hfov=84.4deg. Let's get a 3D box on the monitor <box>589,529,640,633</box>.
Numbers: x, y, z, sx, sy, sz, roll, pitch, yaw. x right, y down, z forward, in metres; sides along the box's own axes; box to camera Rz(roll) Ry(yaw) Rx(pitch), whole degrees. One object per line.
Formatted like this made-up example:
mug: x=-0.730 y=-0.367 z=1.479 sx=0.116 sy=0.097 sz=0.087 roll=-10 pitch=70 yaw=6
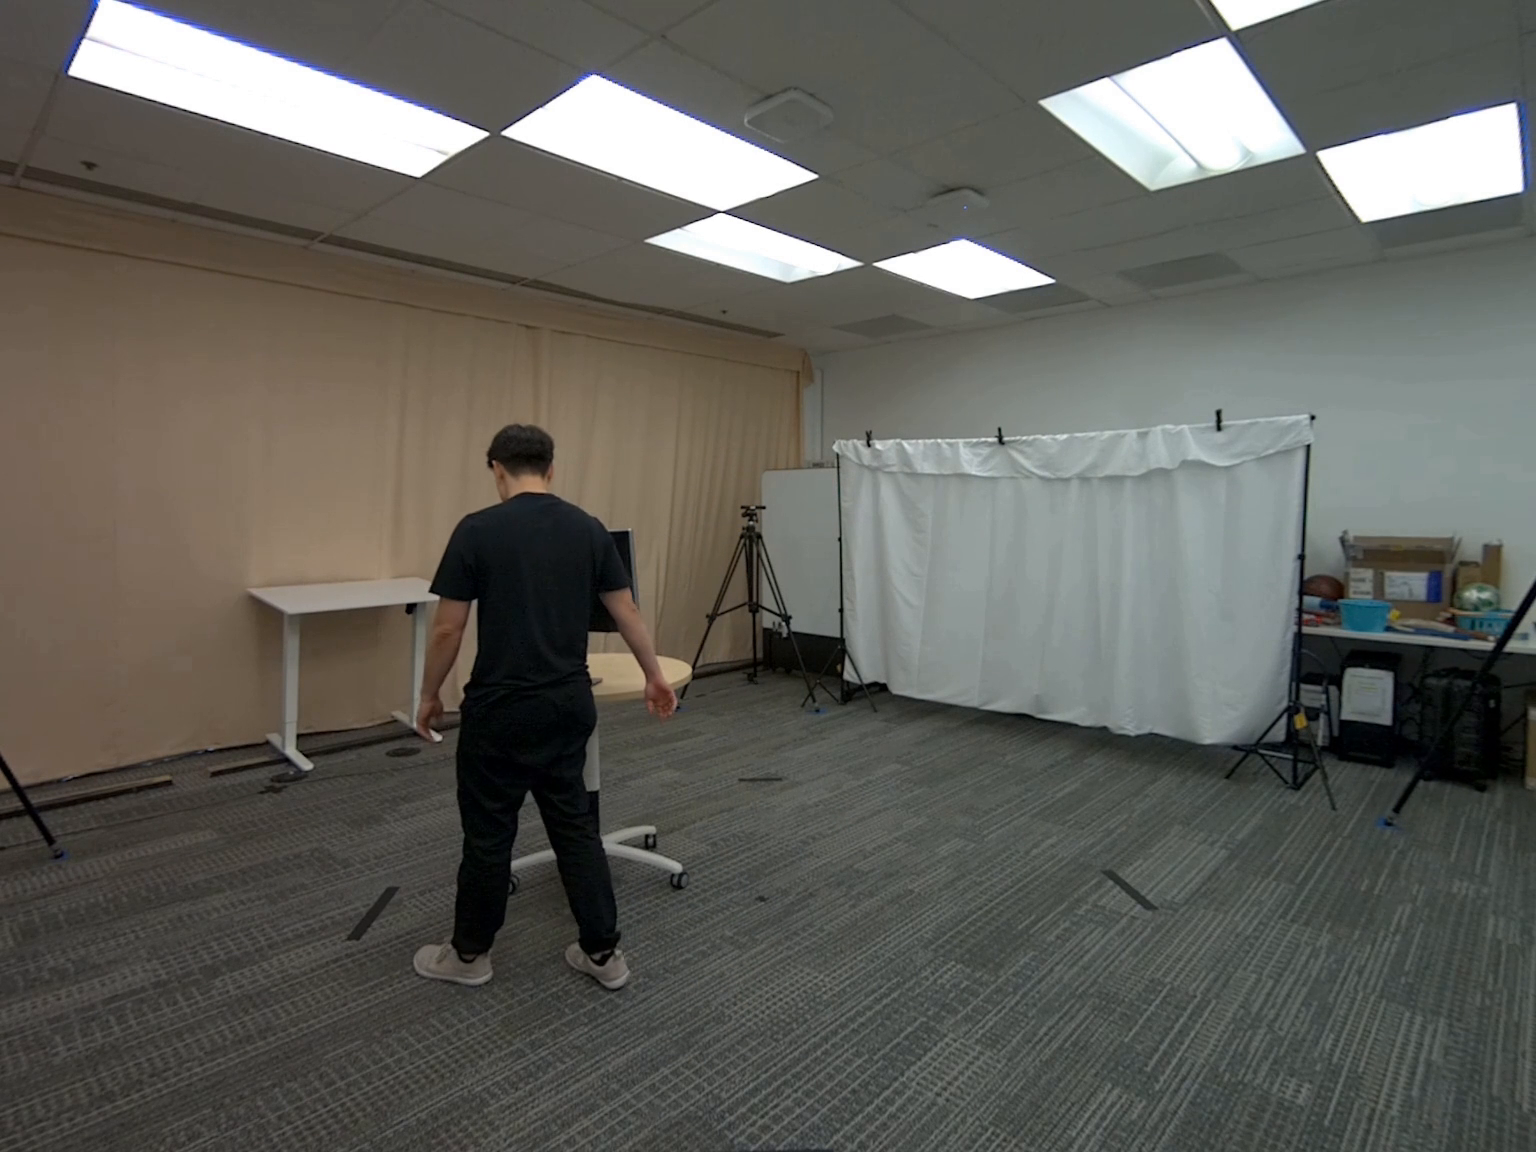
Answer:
monitor: x=-0.721 y=0.112 z=2.891 sx=0.548 sy=0.522 sz=0.184 roll=0 pitch=2 yaw=16
